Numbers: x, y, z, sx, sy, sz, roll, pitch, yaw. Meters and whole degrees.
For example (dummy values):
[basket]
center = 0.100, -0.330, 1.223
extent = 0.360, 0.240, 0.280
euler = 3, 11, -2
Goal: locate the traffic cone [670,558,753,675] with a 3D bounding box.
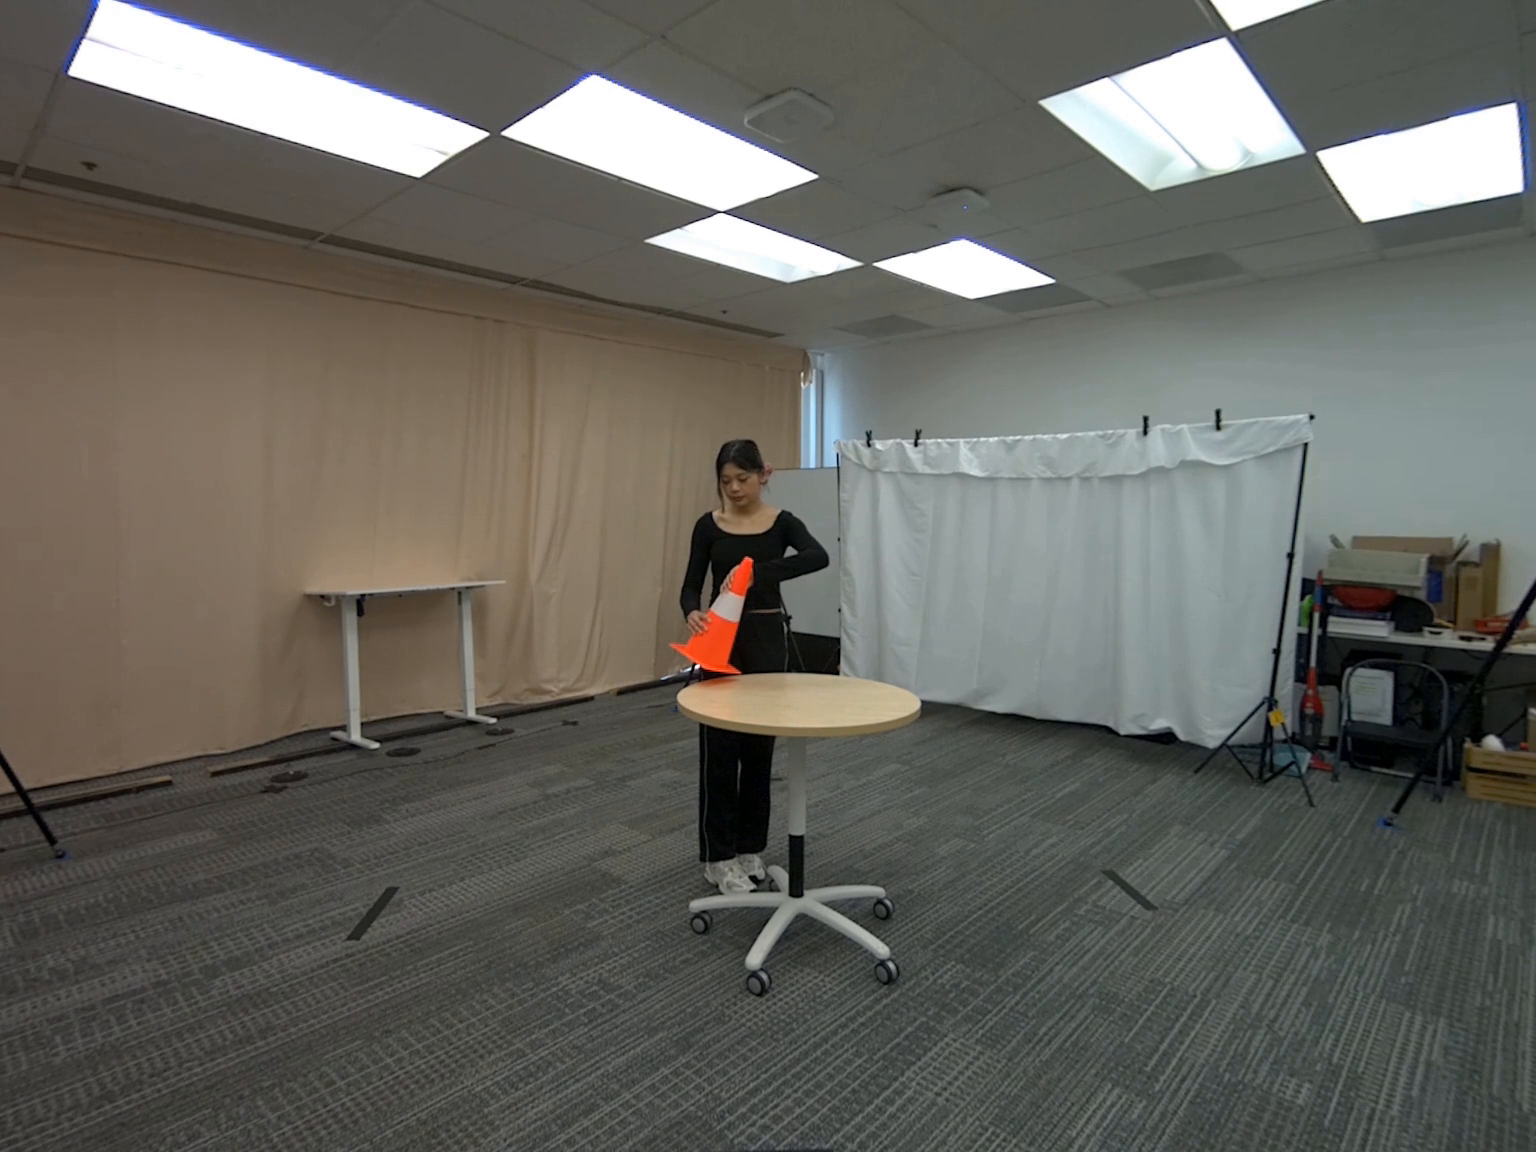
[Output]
[traffic cone]
center = -0.135, 0.117, 2.885
extent = 0.211, 0.383, 0.198
euler = 32, 12, 40
